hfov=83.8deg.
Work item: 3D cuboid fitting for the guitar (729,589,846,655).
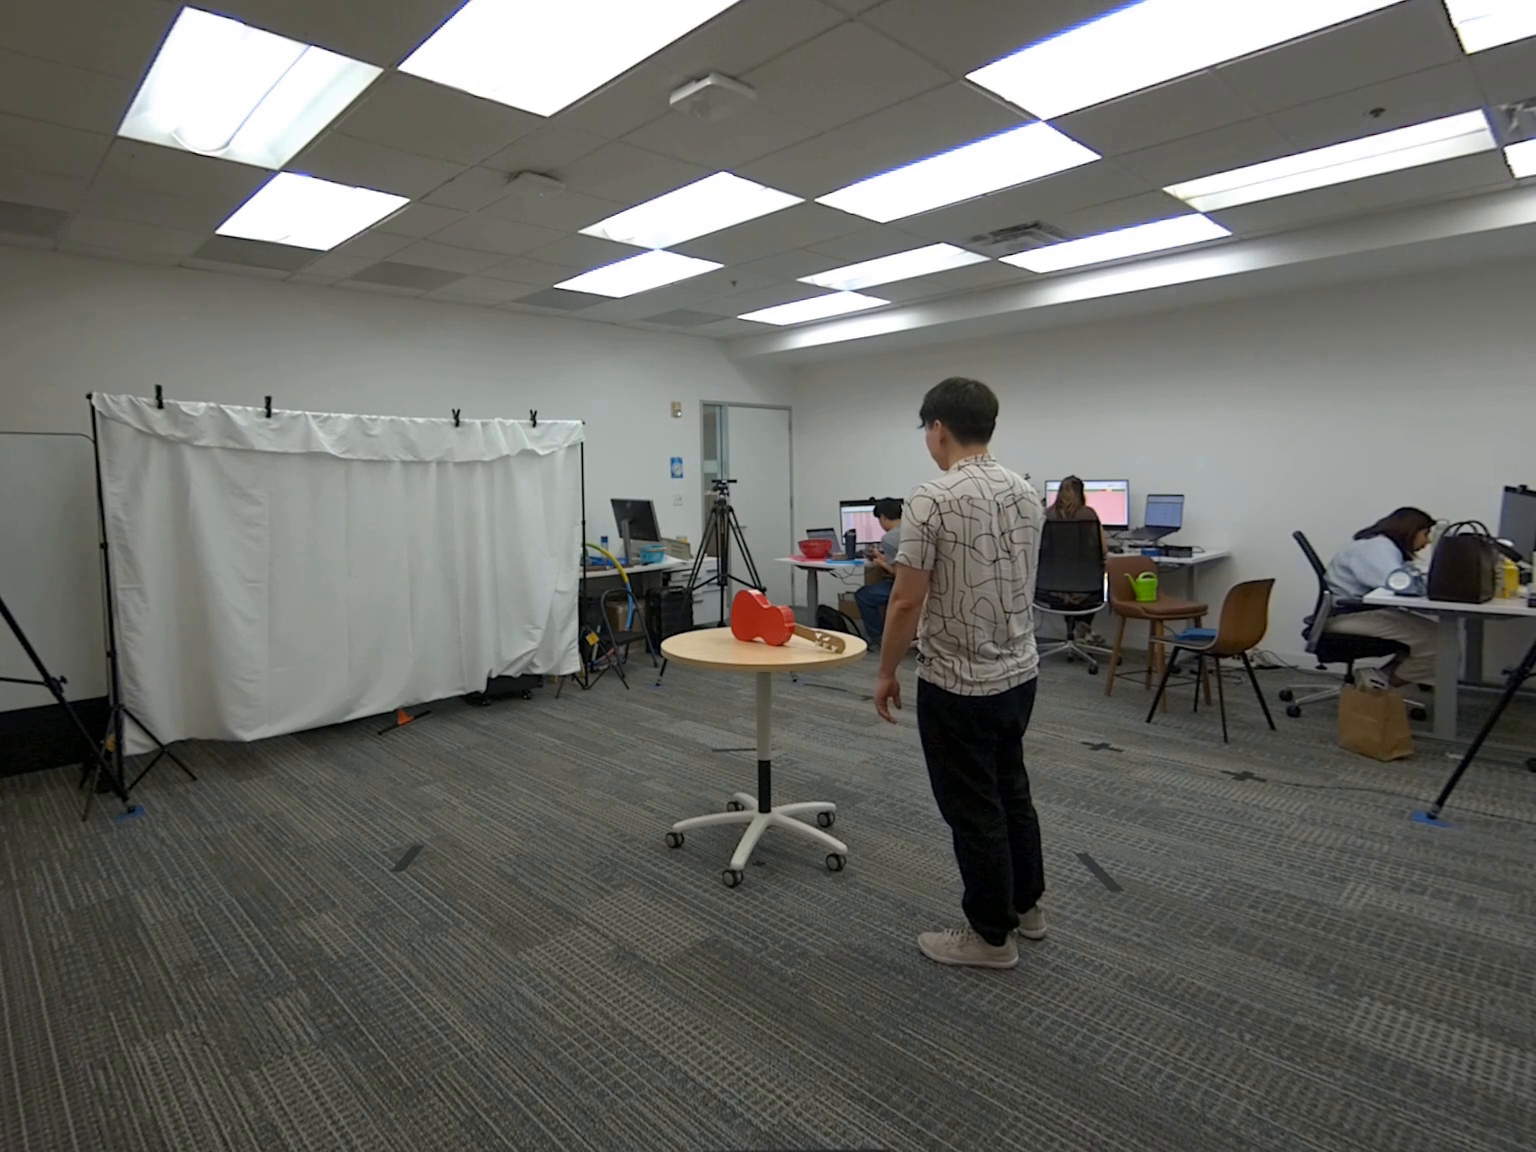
[{"bbox_3d":[0.070,0.164,3.135,0.513,0.192,0.069,6,5,42],"label":"guitar"}]
